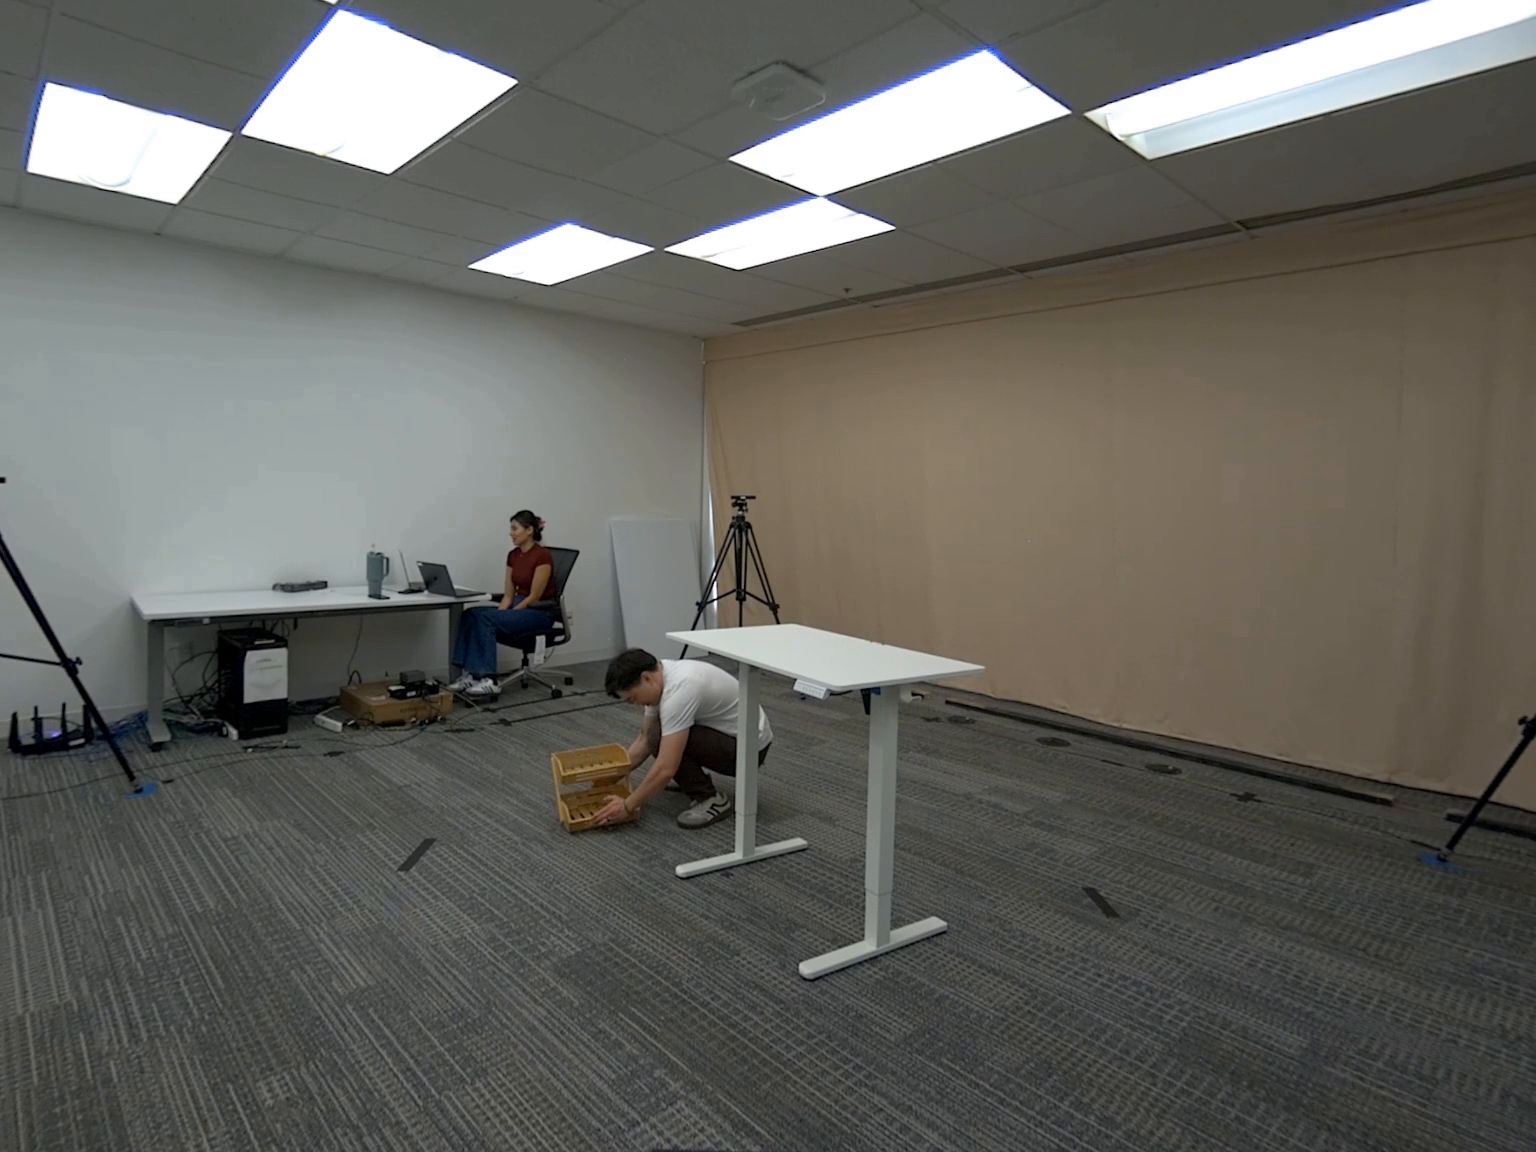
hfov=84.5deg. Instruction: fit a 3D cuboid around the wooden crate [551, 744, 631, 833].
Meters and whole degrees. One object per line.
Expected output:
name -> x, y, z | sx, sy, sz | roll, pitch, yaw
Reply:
wooden crate -> -0.744, 0.887, 3.592 | 0.319, 0.273, 0.307 | -4, 3, -25
